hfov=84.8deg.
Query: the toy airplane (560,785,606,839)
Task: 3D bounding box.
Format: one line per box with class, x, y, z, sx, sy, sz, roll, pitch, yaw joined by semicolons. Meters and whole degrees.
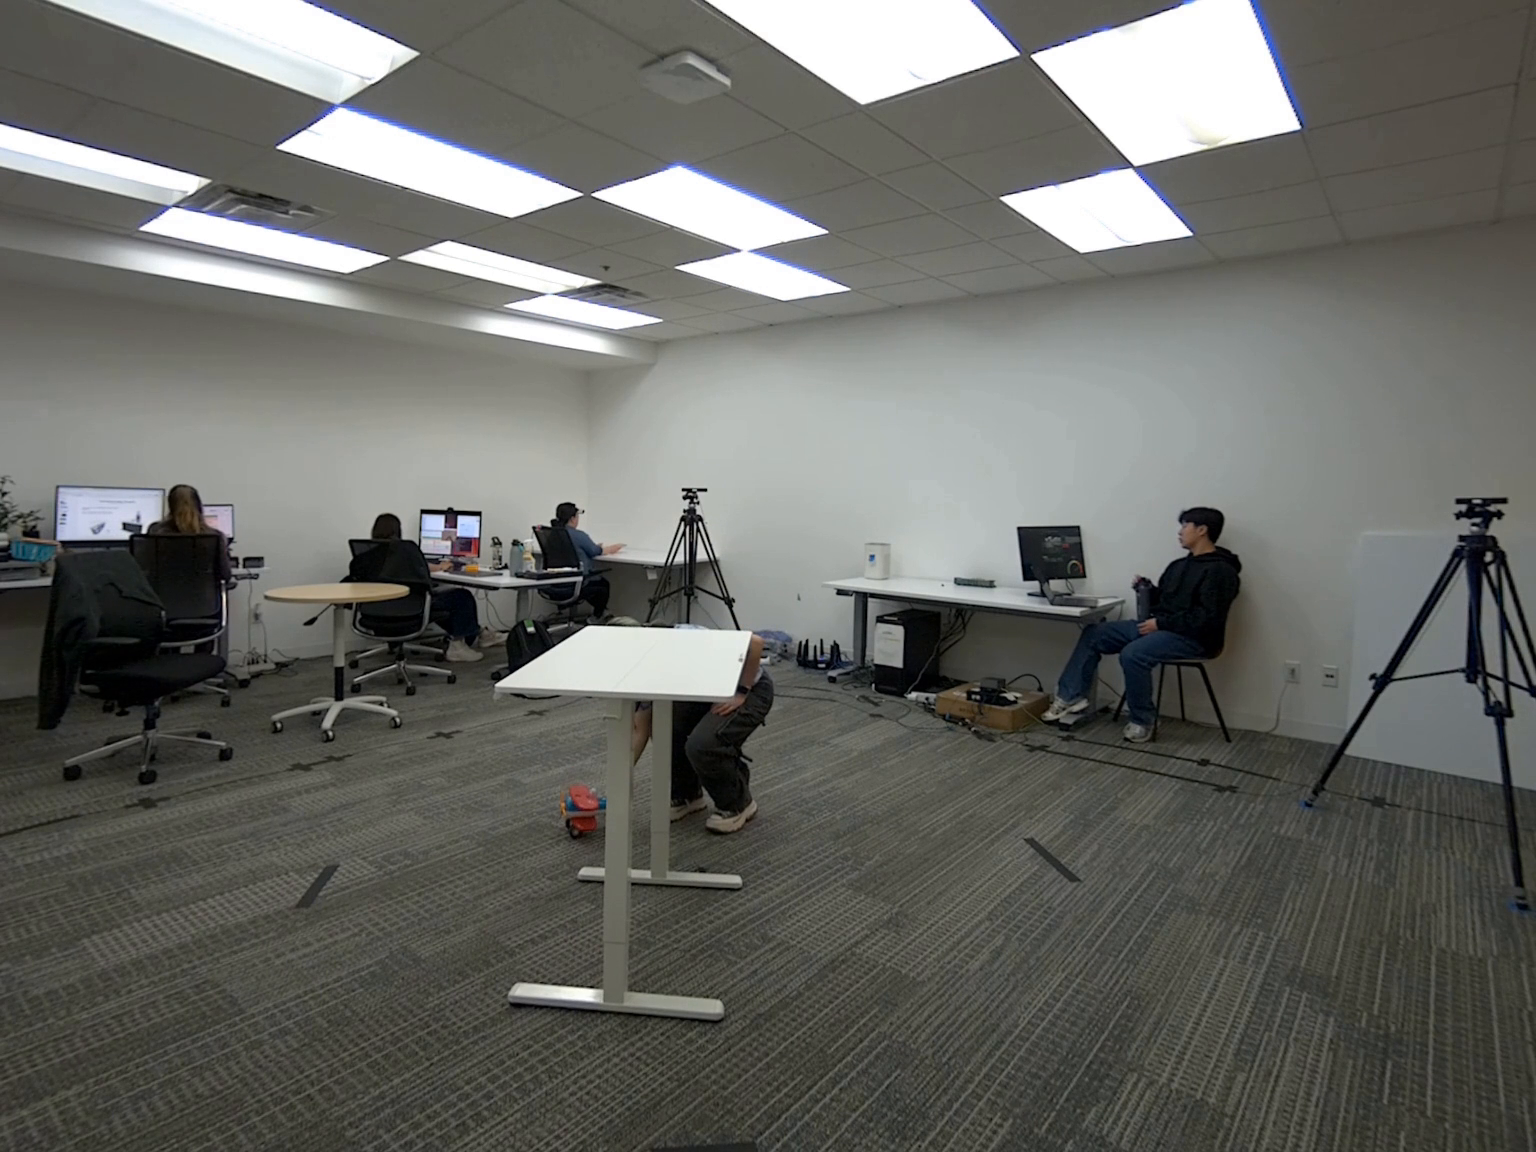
toy airplane;-0.731;0.938;3.446;0.259;0.154;0.254;0;15;40
